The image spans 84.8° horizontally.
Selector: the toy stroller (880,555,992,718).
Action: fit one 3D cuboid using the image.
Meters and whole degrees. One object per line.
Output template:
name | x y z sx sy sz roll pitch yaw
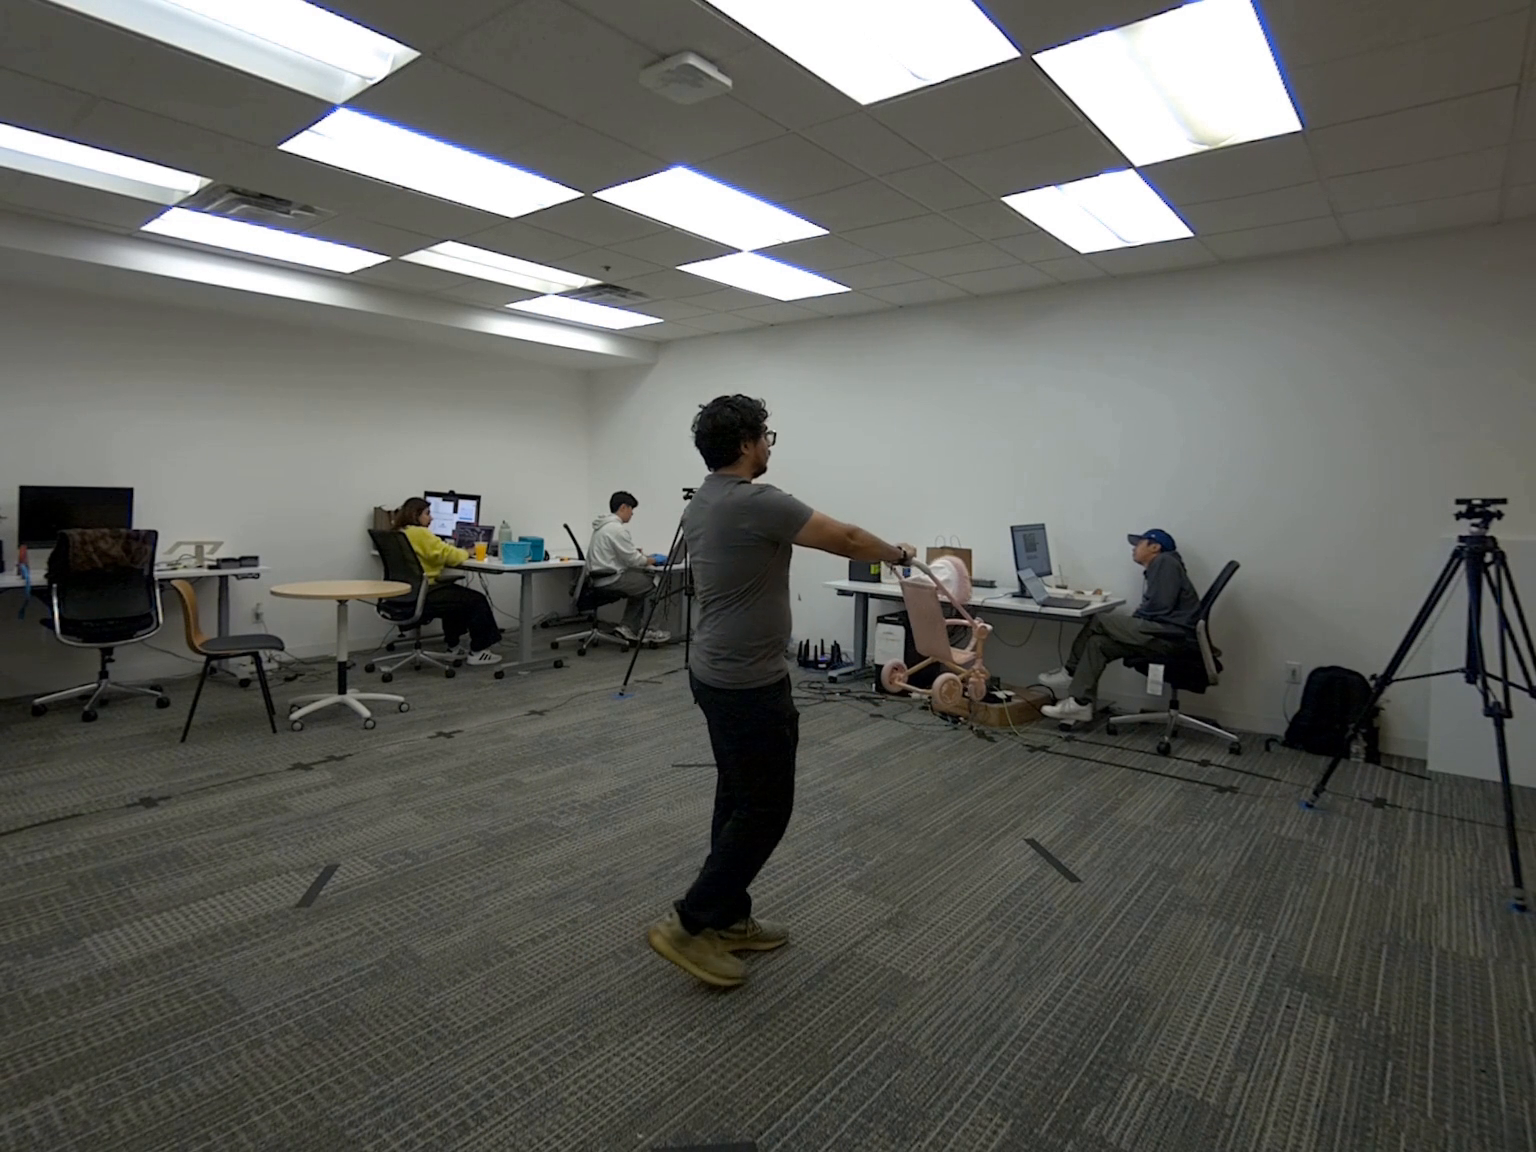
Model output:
toy stroller | 0.555 0.176 2.780 0.334 0.532 0.289 -7 6 -25
